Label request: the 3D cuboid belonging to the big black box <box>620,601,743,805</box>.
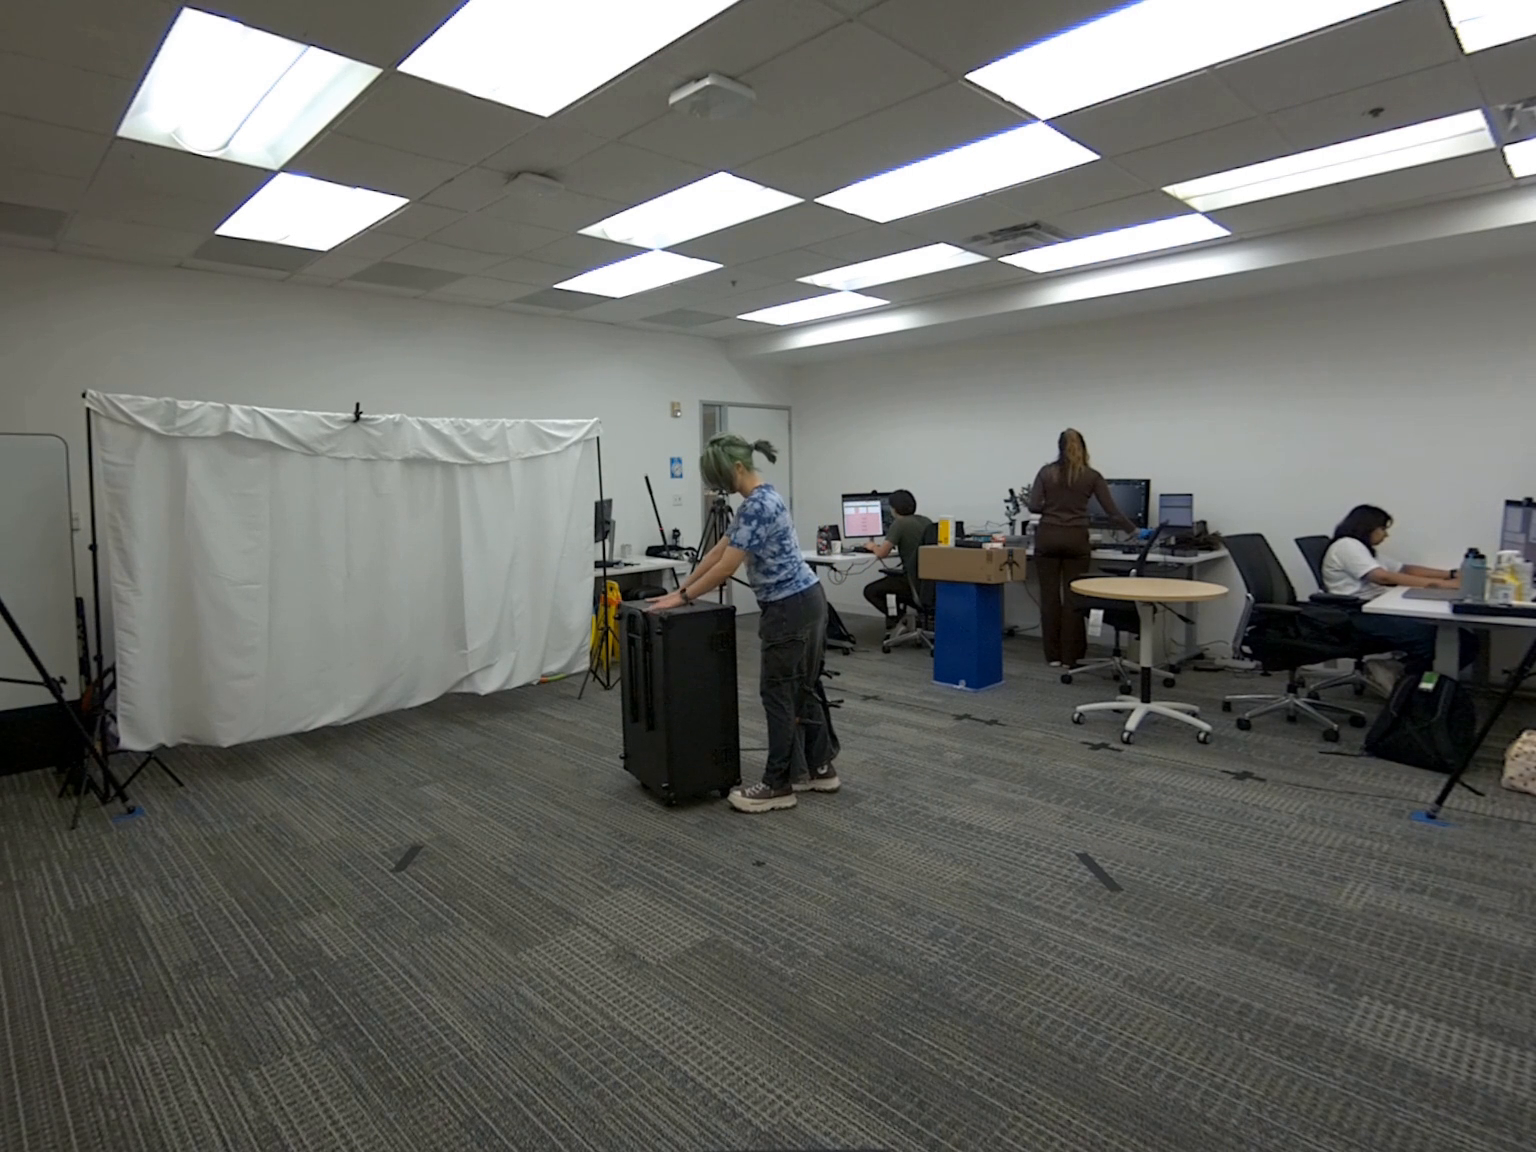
[{"bbox_3d":[-0.414,0.554,3.813,0.387,0.858,0.536,-5,5,-31],"label":"big black box"}]
